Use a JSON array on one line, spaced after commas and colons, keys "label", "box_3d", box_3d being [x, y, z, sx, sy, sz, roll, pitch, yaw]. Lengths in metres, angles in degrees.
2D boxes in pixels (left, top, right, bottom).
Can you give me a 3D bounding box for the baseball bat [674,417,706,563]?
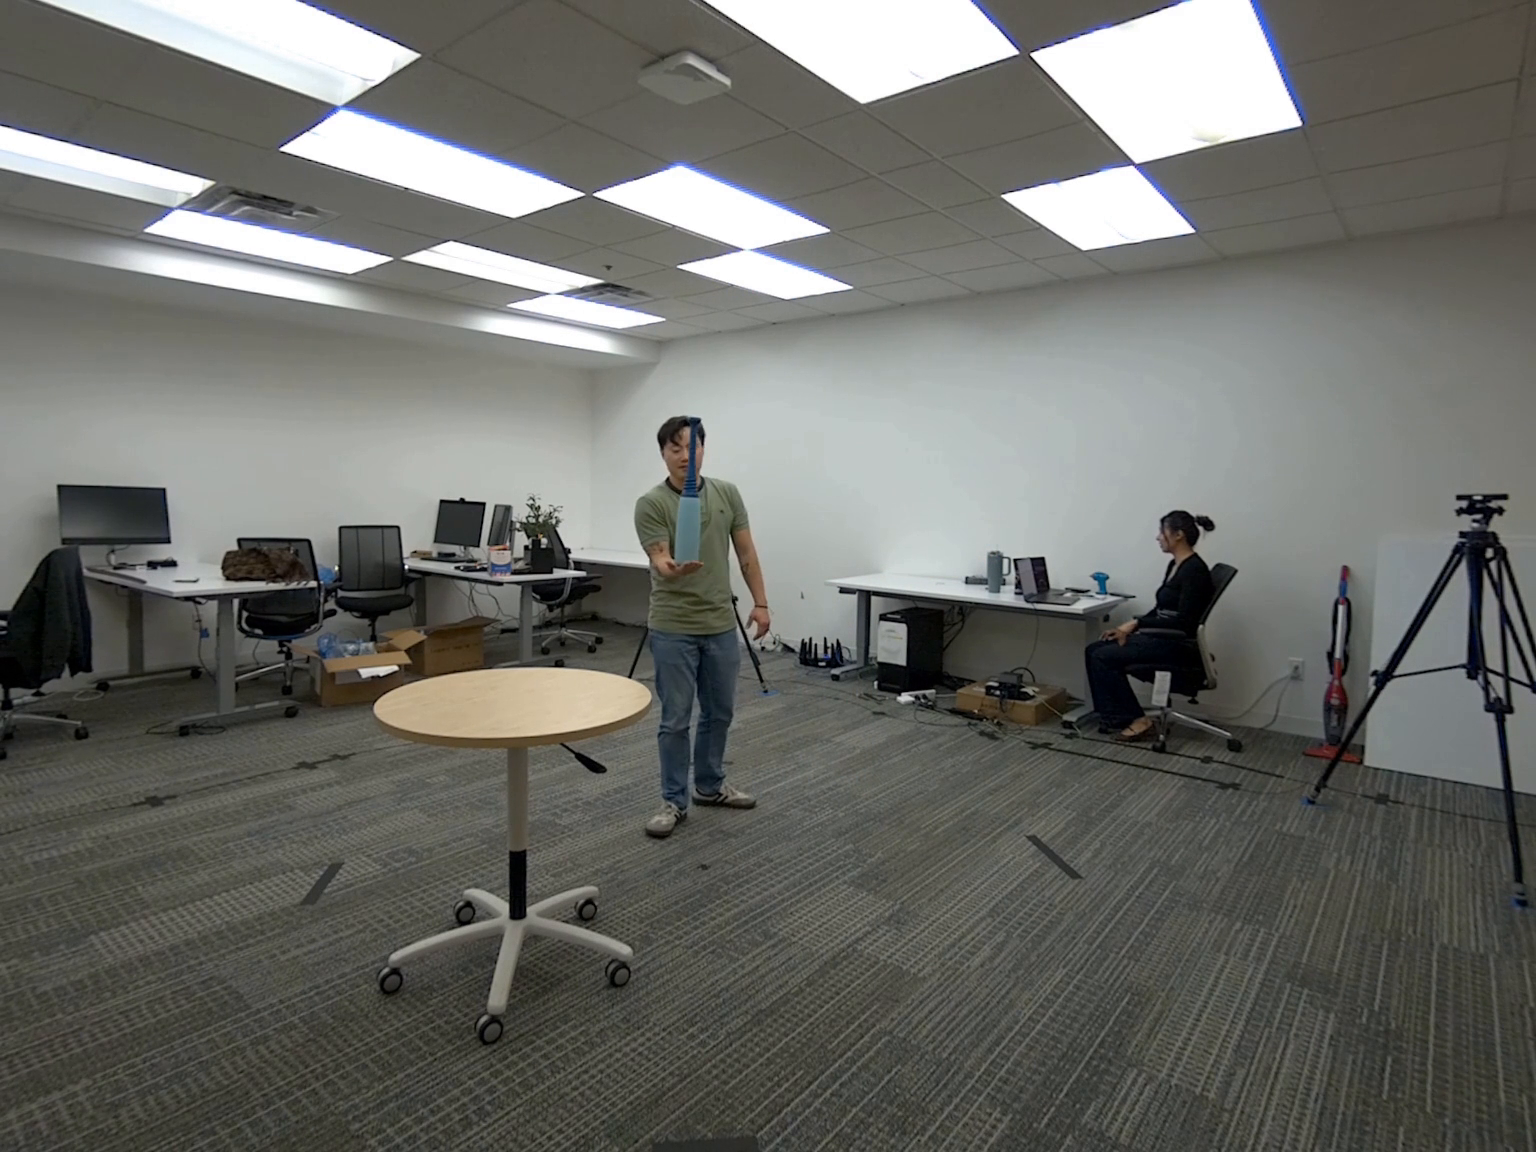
[{"label": "baseball bat", "box_3d": [-0.309, -0.308, 3.085, 0.089, 0.542, 0.089, 7, 2, -2]}]
